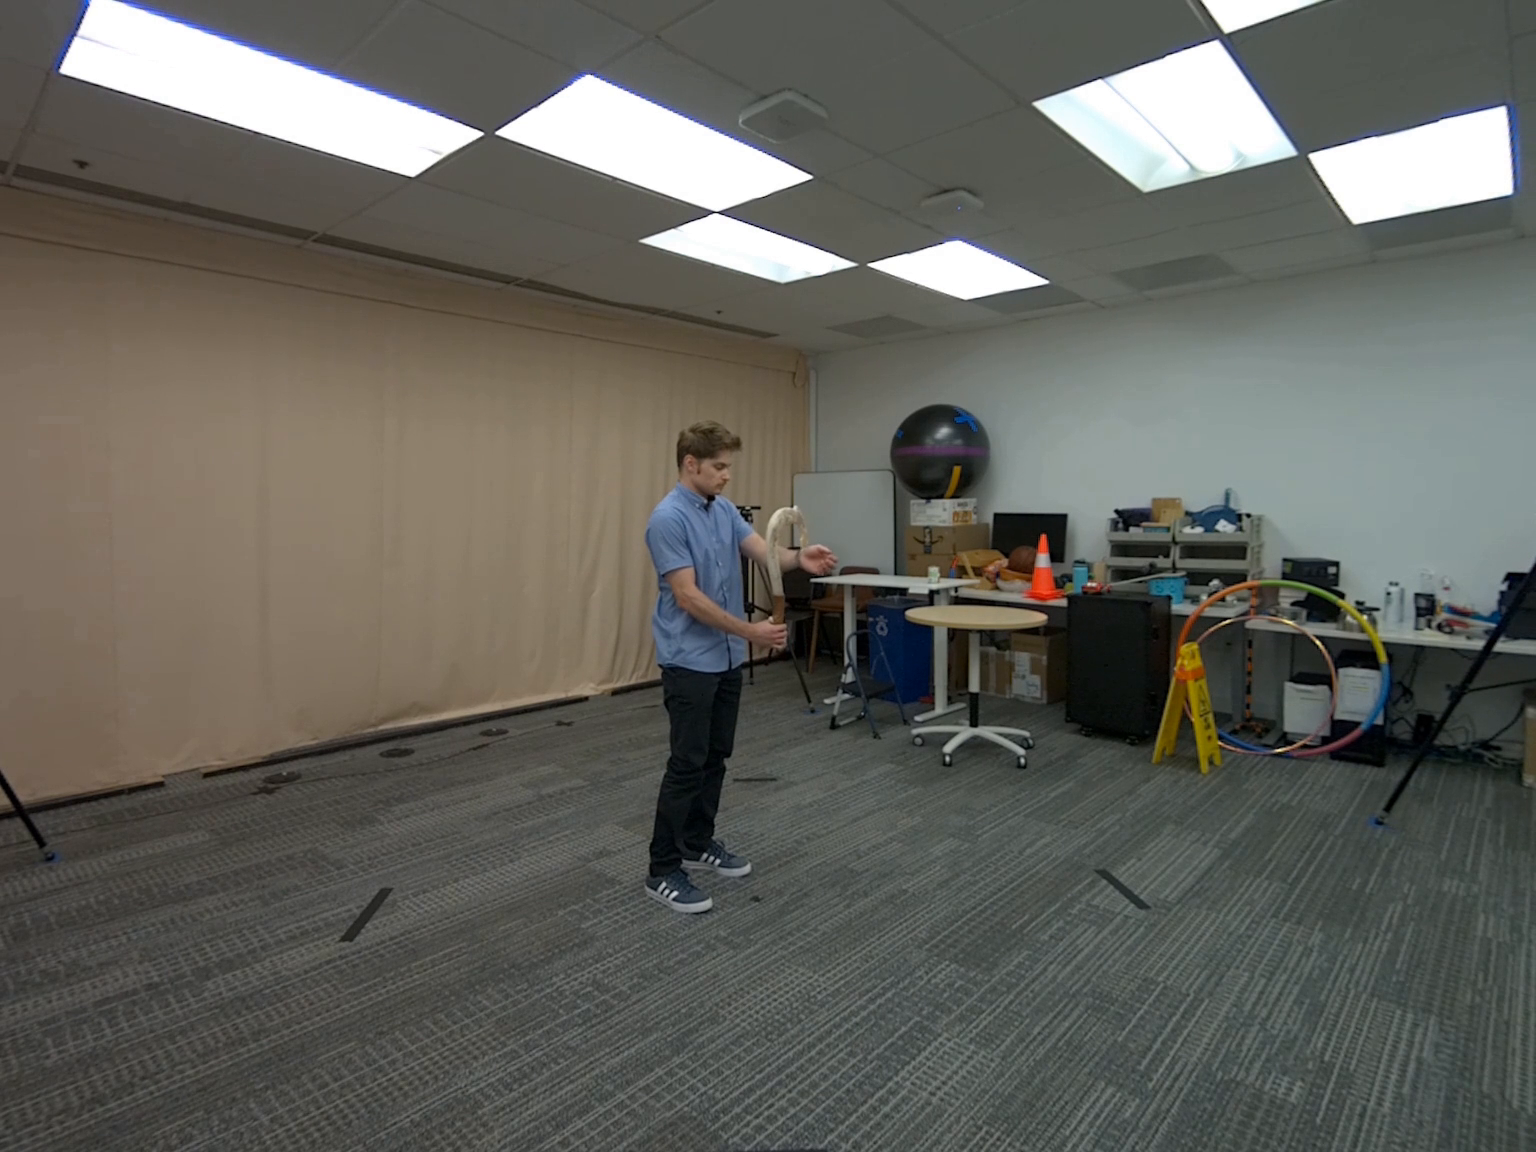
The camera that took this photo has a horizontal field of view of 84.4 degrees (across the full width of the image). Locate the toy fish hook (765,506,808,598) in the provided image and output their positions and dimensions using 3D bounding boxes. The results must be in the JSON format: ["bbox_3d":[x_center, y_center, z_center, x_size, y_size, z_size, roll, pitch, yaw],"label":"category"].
[{"bbox_3d":[0.069,0.008,3.021,0.218,0.503,0.050,-7,17,-41],"label":"toy fish hook"}]
